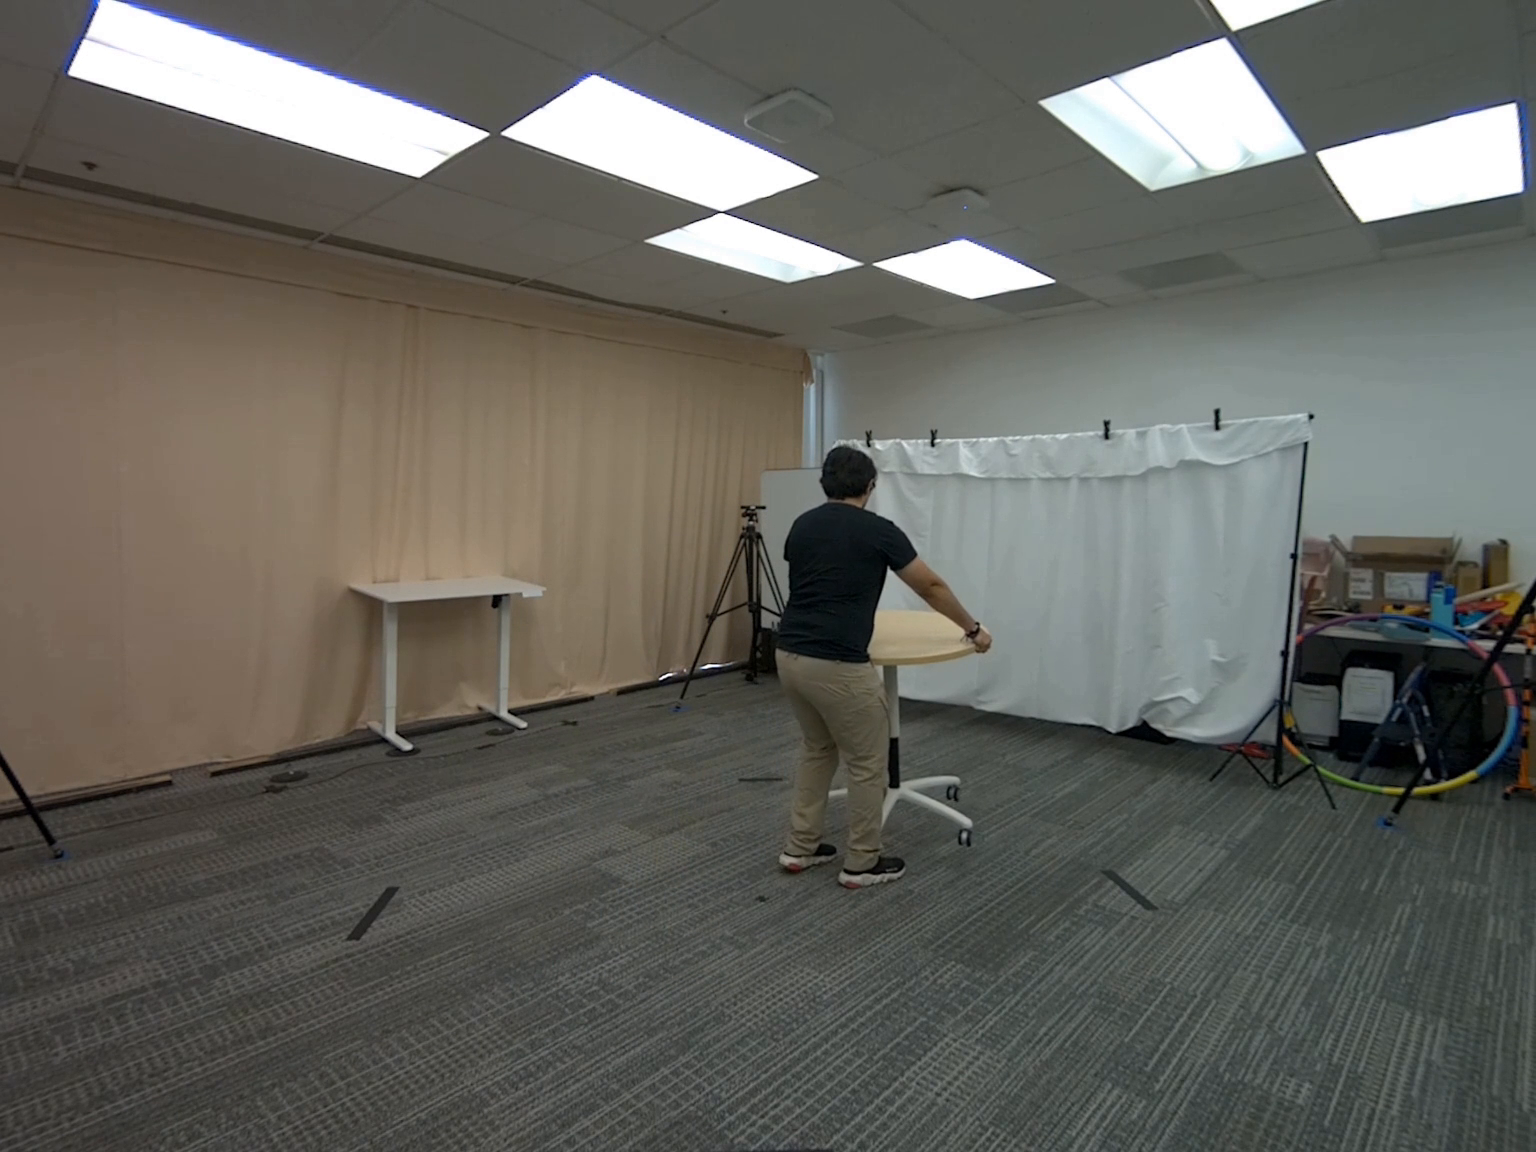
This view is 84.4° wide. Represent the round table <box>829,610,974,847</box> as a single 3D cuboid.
[{"bbox_3d":[0.509,0.620,3.487,0.785,0.782,0.790,-4,9,-1],"label":"round table"}]
